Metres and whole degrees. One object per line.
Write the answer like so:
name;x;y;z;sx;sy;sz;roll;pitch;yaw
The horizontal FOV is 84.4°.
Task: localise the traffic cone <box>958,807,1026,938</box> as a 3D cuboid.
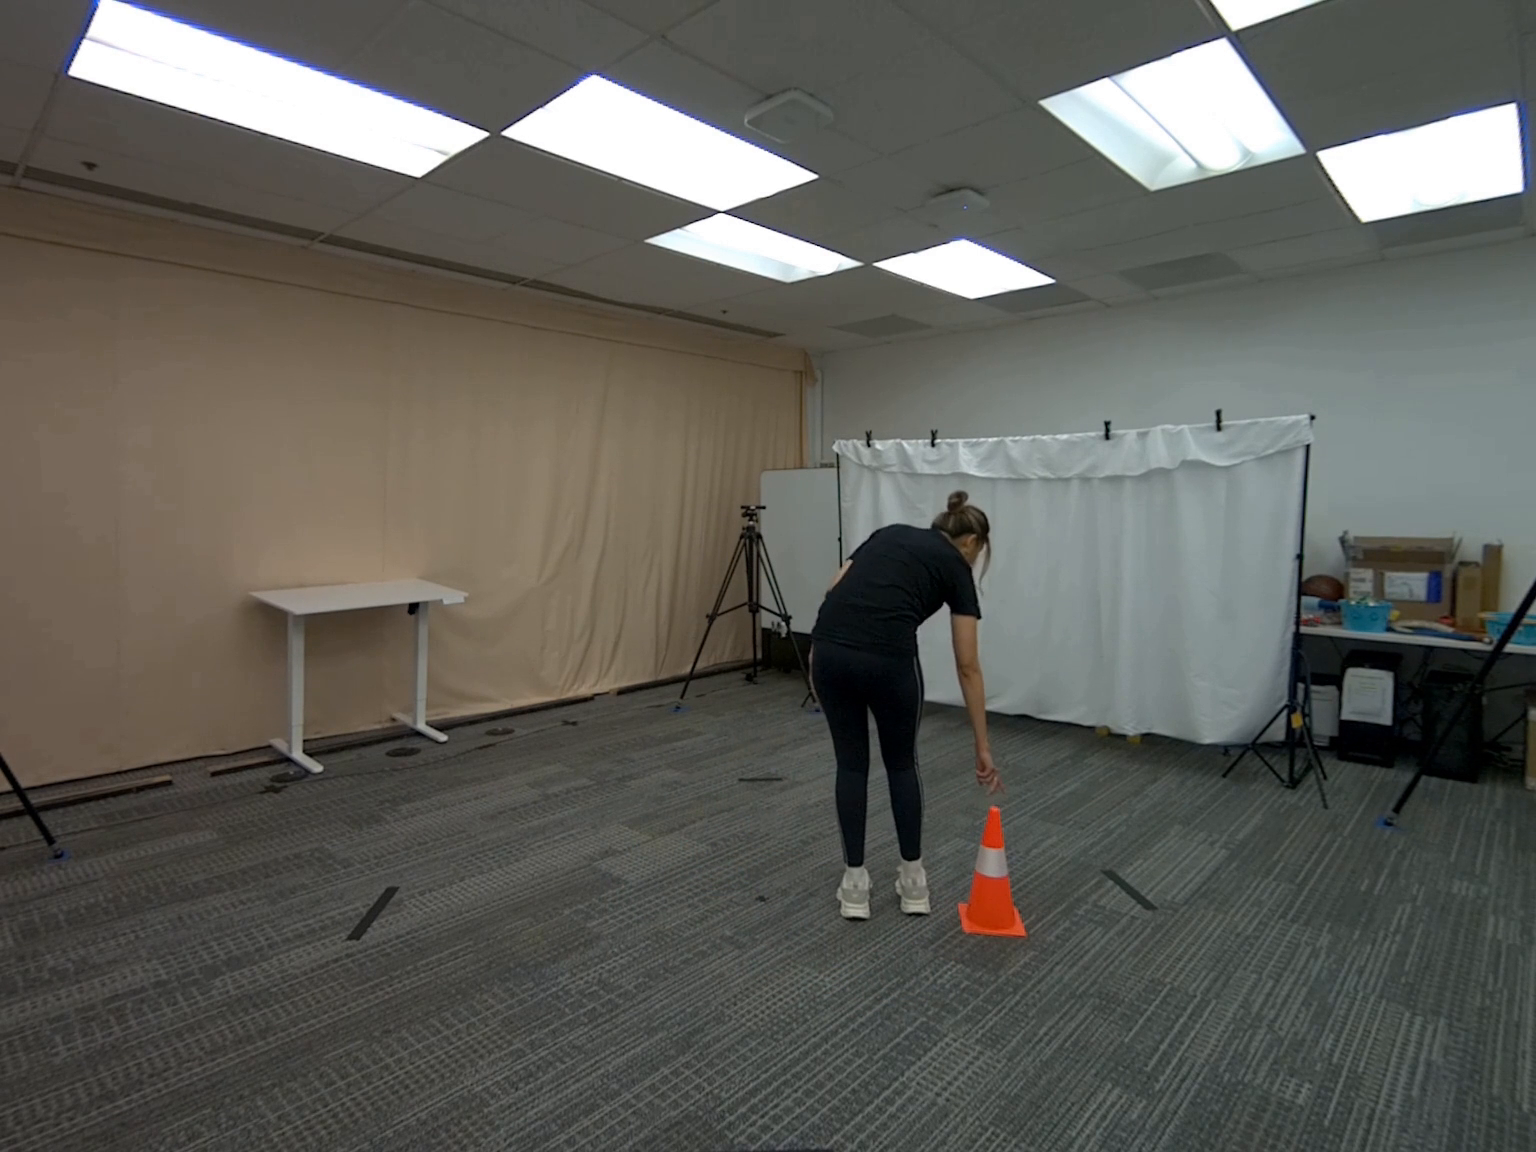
traffic cone;0.753;0.968;2.815;0.208;0.383;0.201;1;3;11
